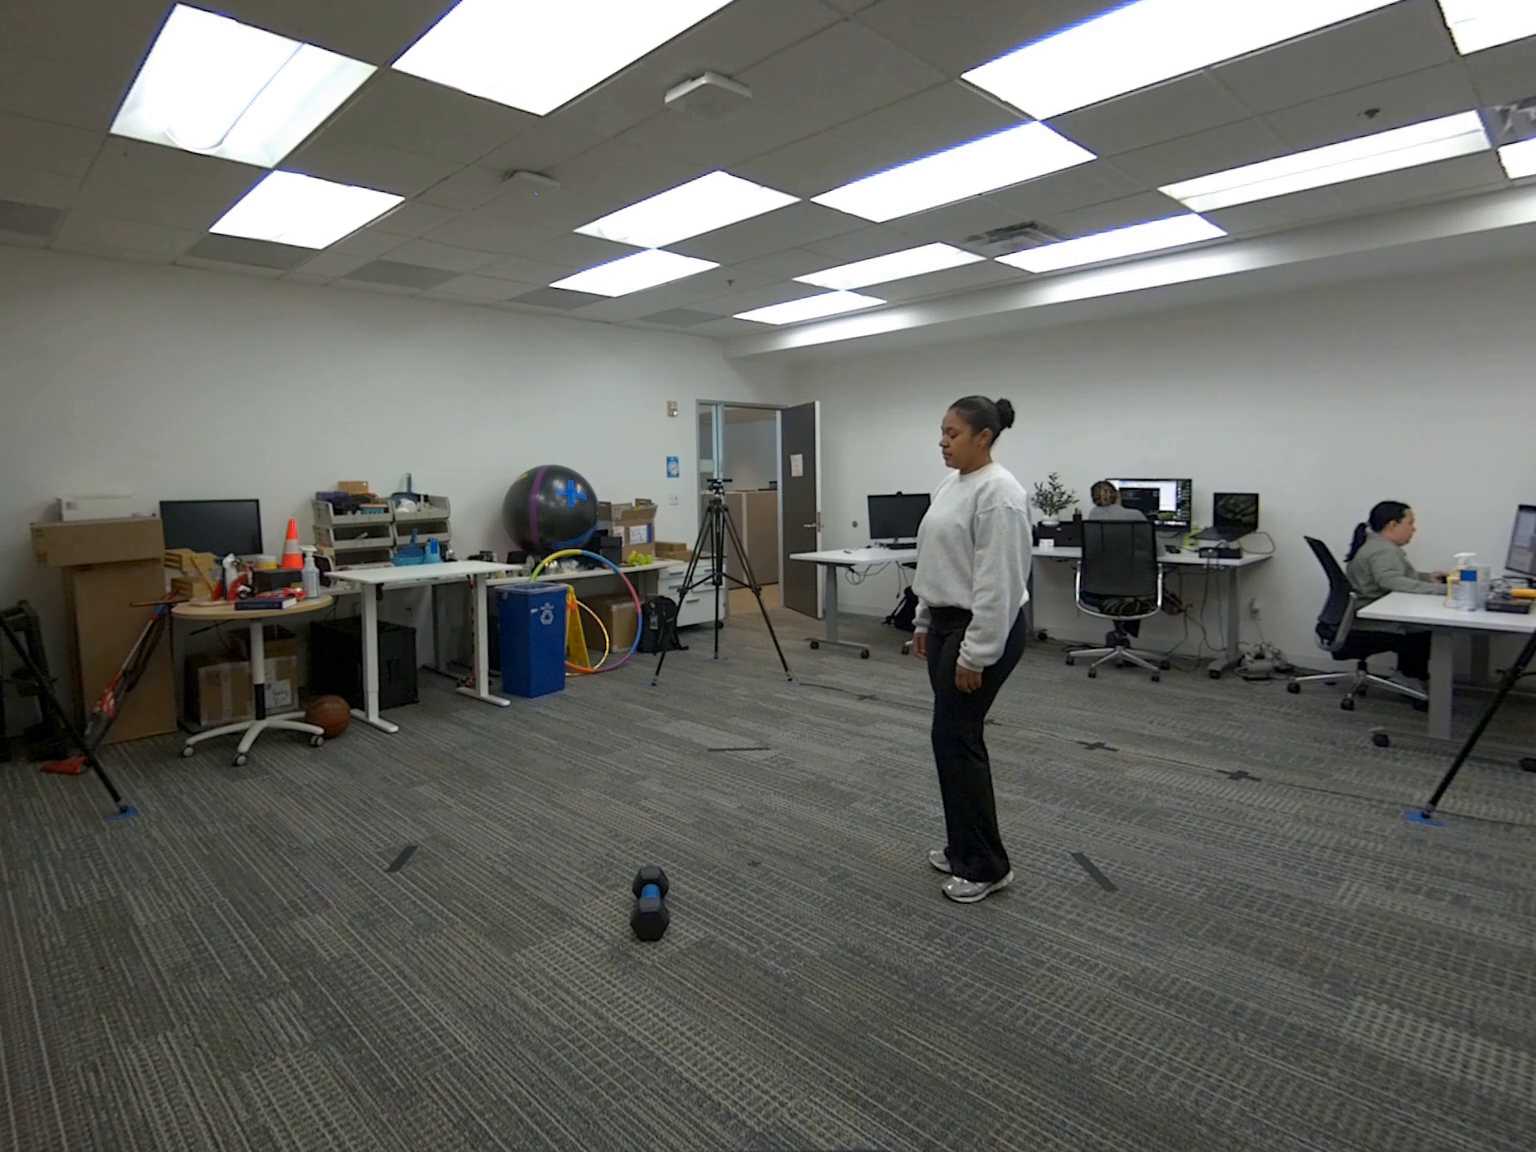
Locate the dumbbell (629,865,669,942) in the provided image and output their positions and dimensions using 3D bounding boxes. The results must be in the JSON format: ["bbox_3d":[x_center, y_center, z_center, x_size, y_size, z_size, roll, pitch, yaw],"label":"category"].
[{"bbox_3d":[-0.371,1.043,2.728,0.108,0.122,0.296,-31,8,-3],"label":"dumbbell"}]
